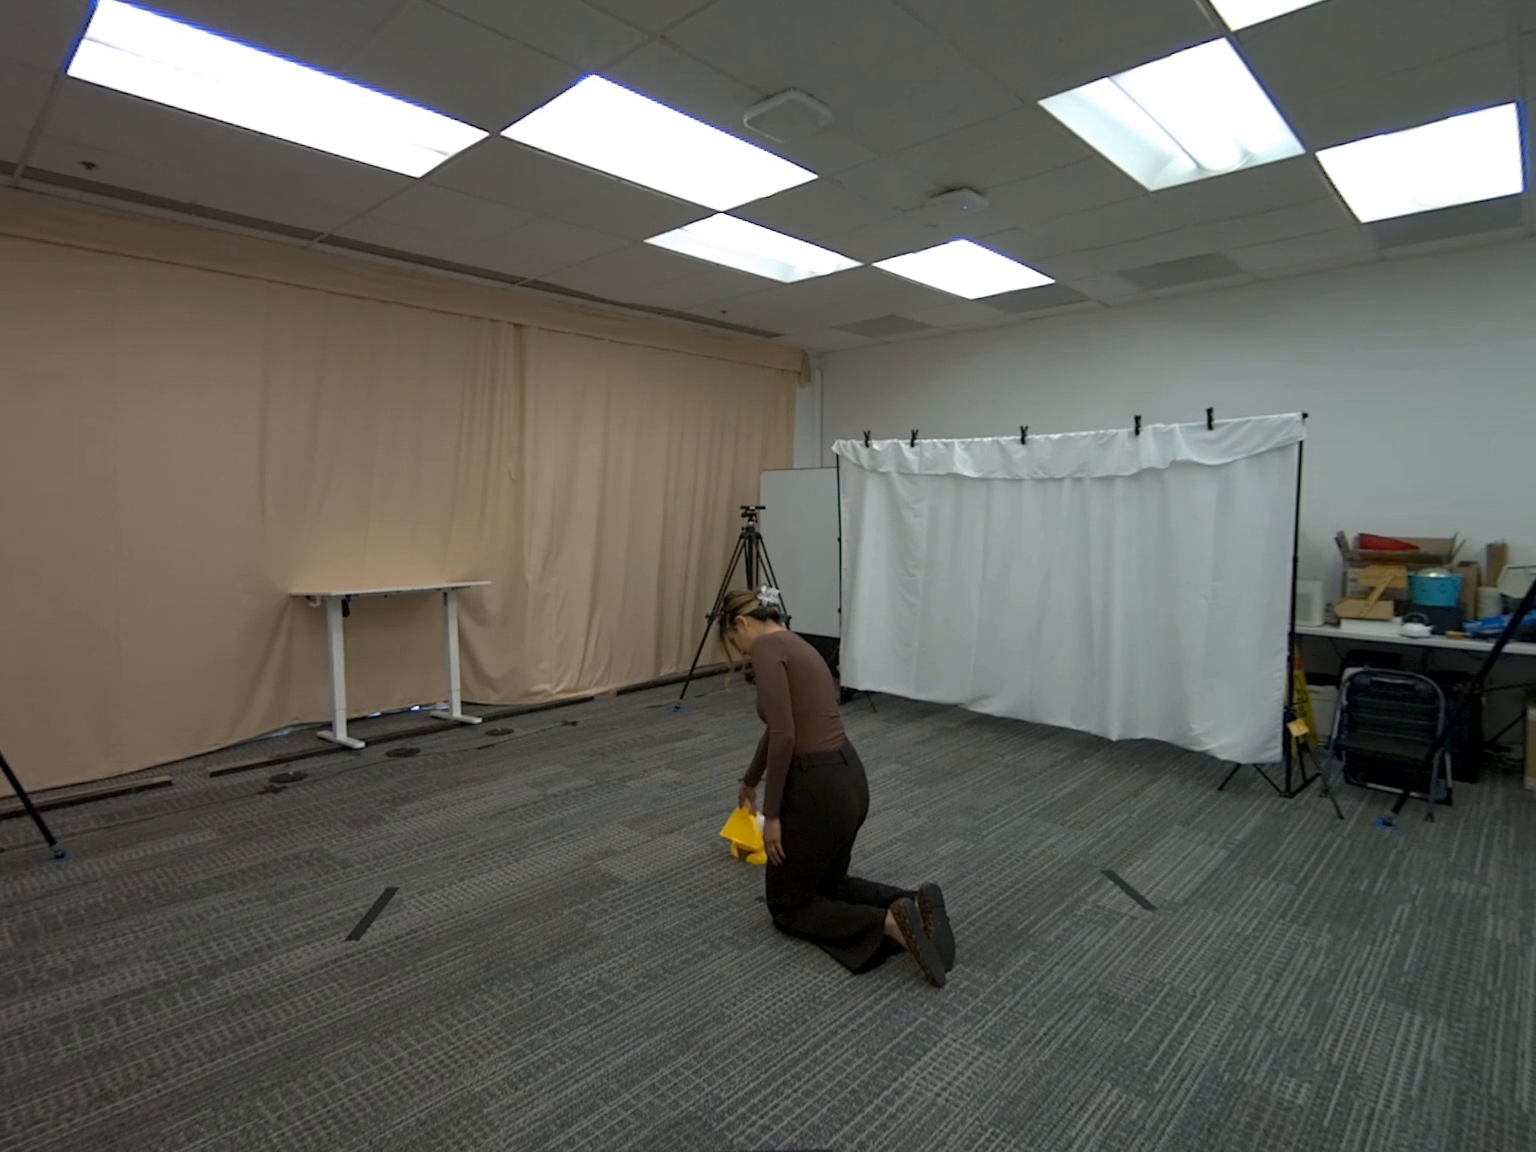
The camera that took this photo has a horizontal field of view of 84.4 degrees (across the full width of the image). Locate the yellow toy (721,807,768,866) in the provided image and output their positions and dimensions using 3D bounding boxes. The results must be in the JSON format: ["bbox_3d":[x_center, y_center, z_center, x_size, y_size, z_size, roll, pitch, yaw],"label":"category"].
[{"bbox_3d":[-0.053,0.999,3.357,0.211,0.230,0.187,4,6,44],"label":"yellow toy"}]
